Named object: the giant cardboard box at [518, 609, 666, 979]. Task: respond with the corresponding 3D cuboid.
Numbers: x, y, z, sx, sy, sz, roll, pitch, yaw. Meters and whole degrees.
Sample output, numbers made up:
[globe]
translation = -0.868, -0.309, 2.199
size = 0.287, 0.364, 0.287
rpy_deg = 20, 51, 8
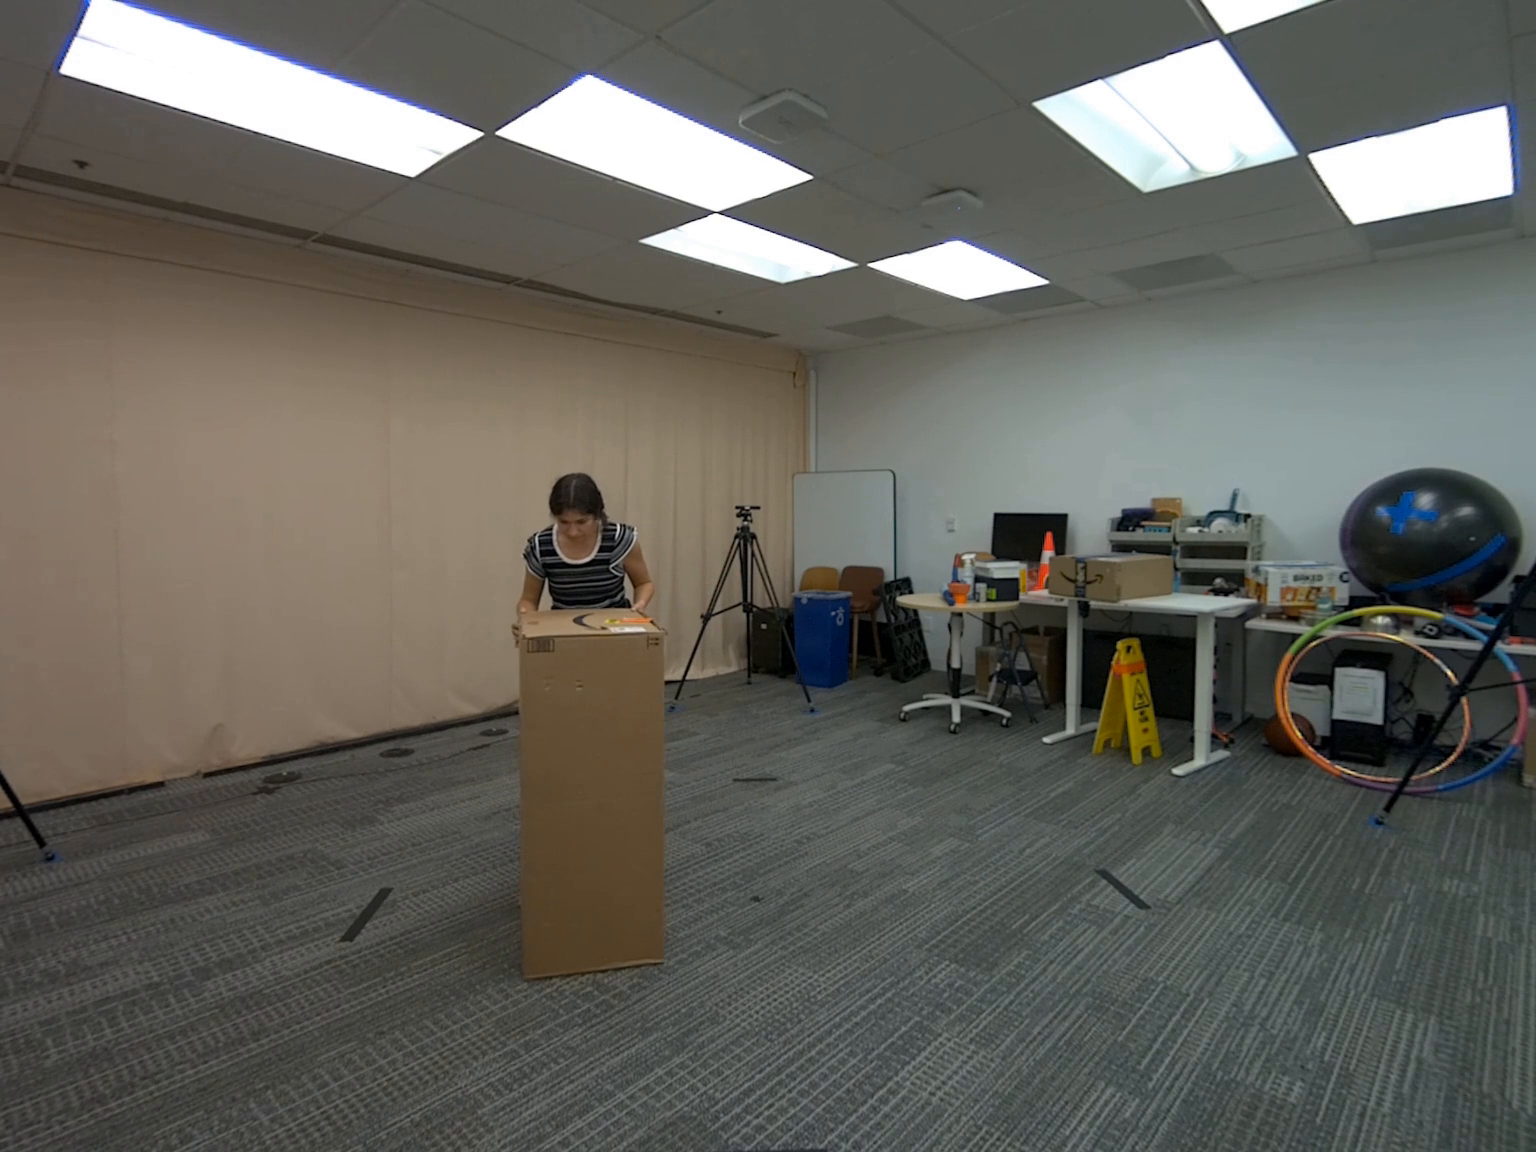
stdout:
[giant cardboard box]
translation = -0.592, 0.661, 2.775
size = 0.420, 1.024, 0.587
rpy_deg = 0, 3, -15
